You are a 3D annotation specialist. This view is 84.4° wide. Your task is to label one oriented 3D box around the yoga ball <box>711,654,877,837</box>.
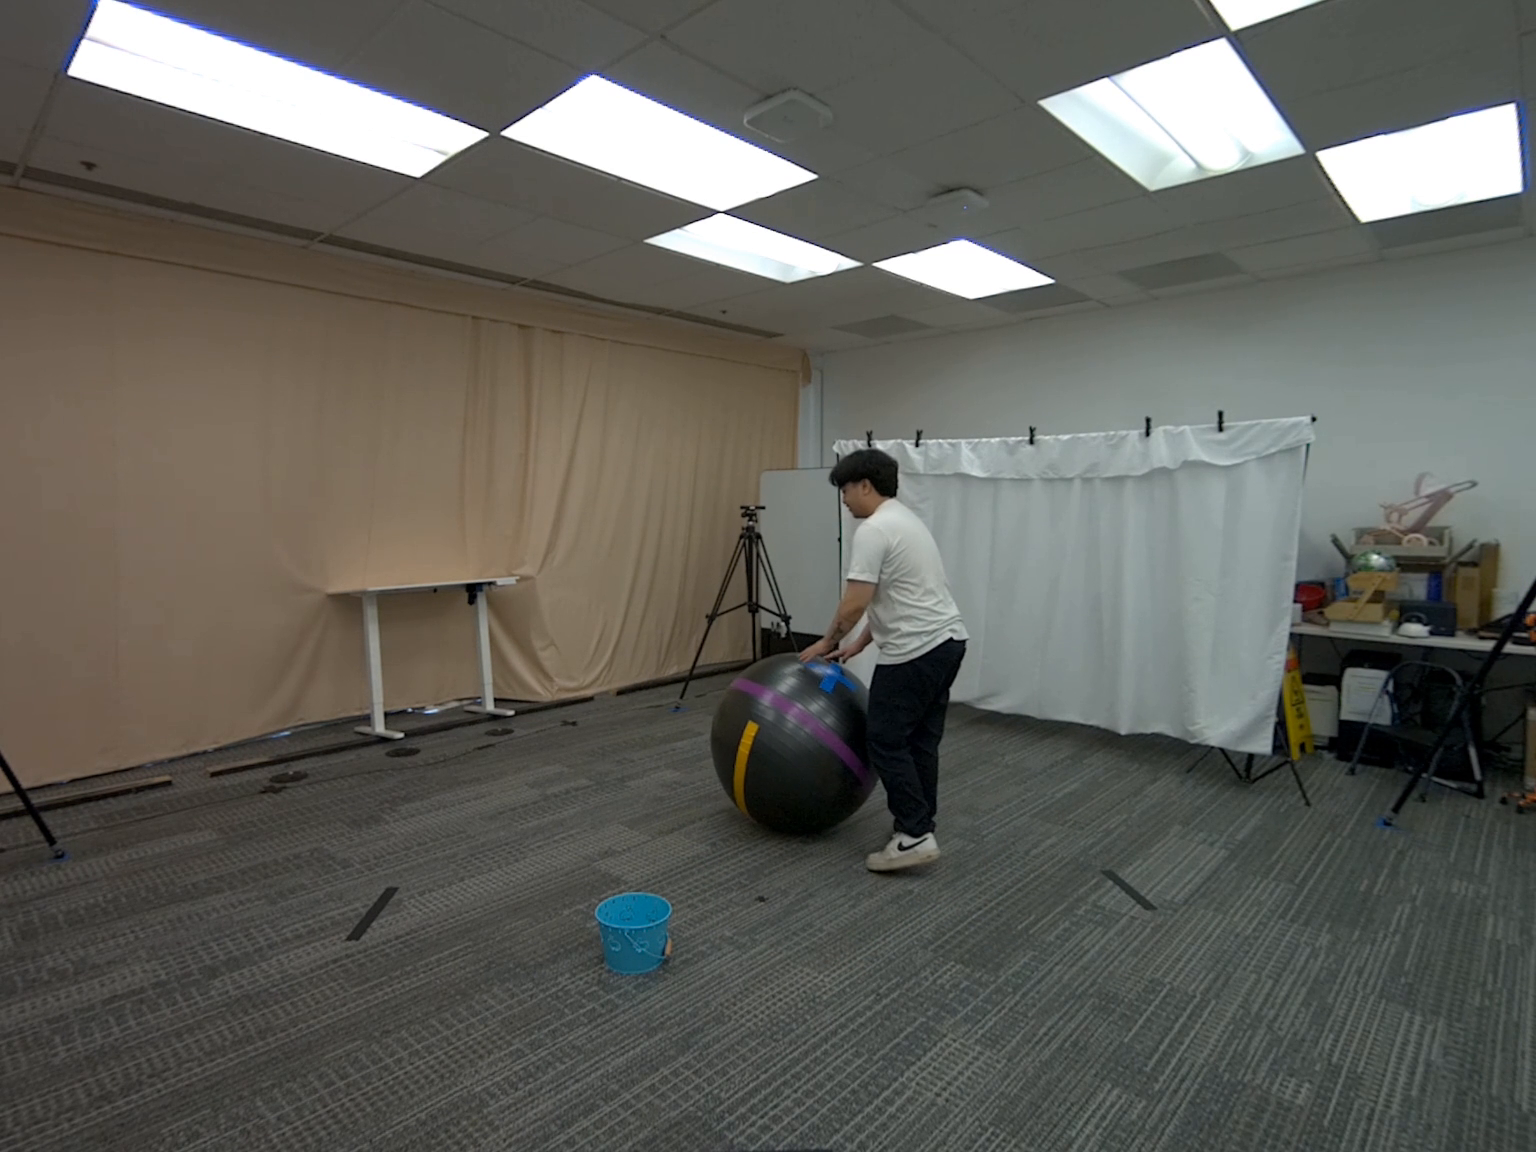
[{"bbox_3d":[0.125,0.717,3.666,0.757,0.756,0.760,0,4,-2],"label":"yoga ball"}]
